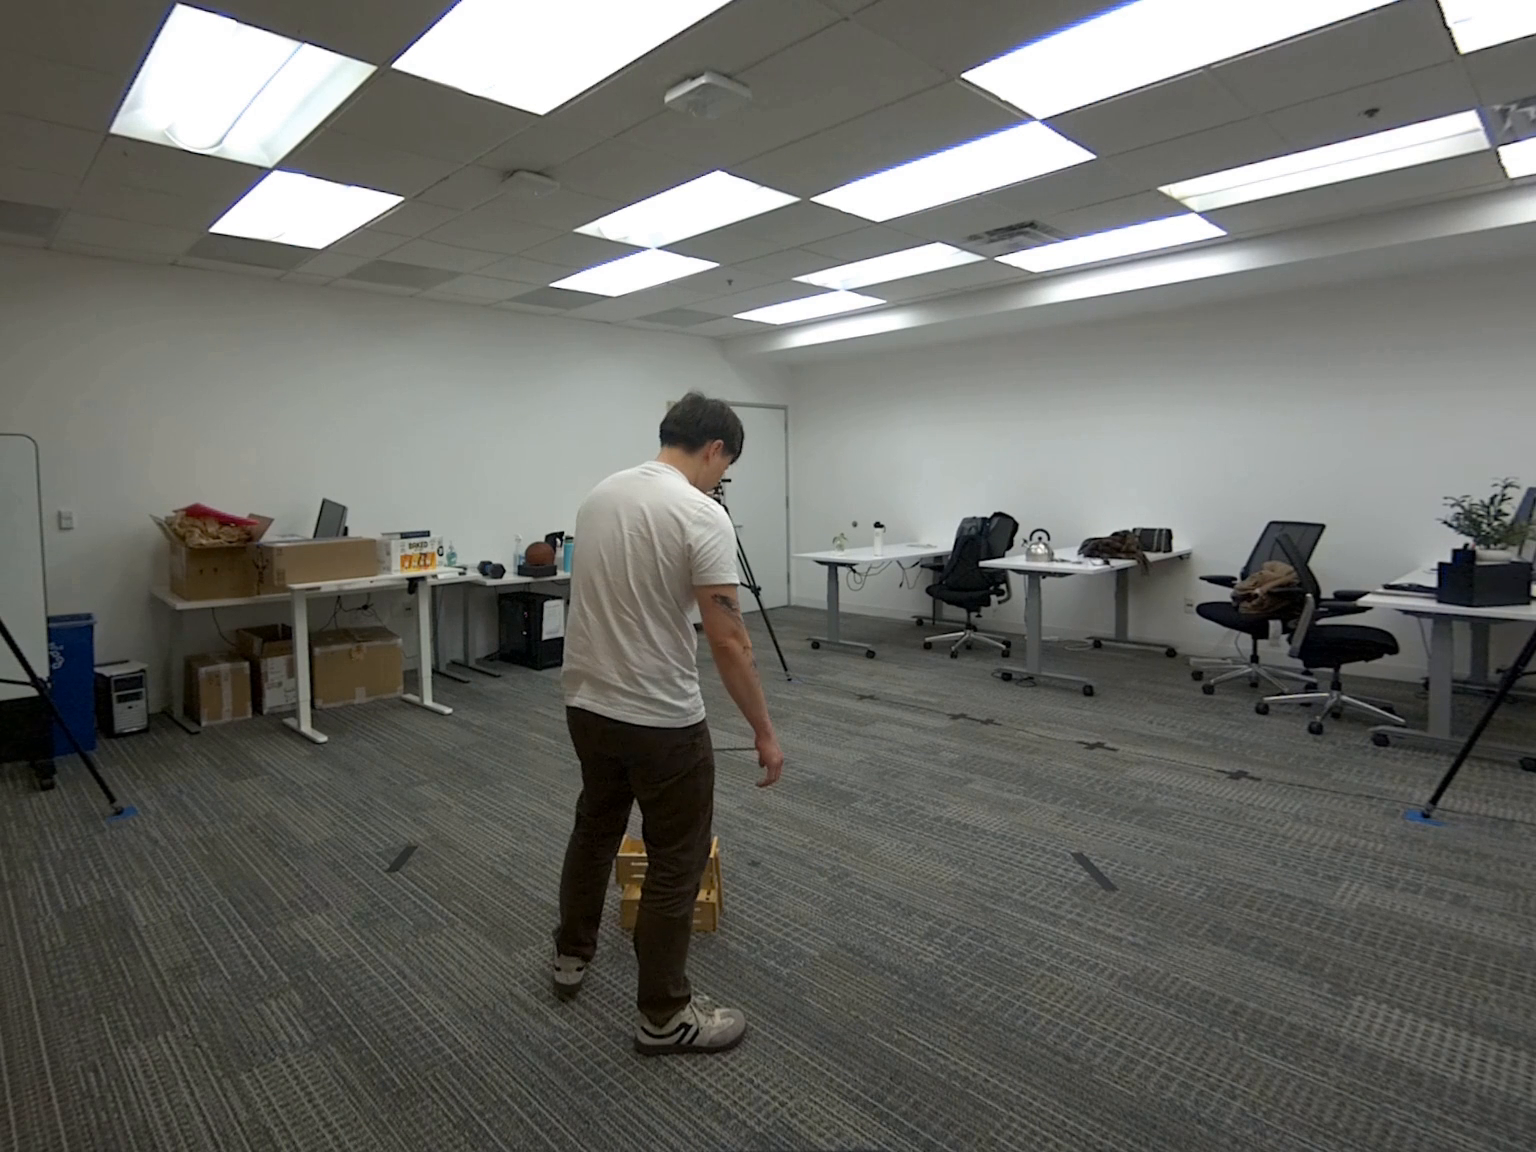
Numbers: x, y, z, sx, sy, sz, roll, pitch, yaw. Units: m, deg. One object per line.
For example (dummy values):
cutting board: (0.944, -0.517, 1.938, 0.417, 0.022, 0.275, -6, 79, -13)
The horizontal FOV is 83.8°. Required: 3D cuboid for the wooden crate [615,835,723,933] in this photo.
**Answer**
wooden crate: (-0.306, 0.958, 2.748, 0.326, 0.272, 0.302, -1, 5, 3)
